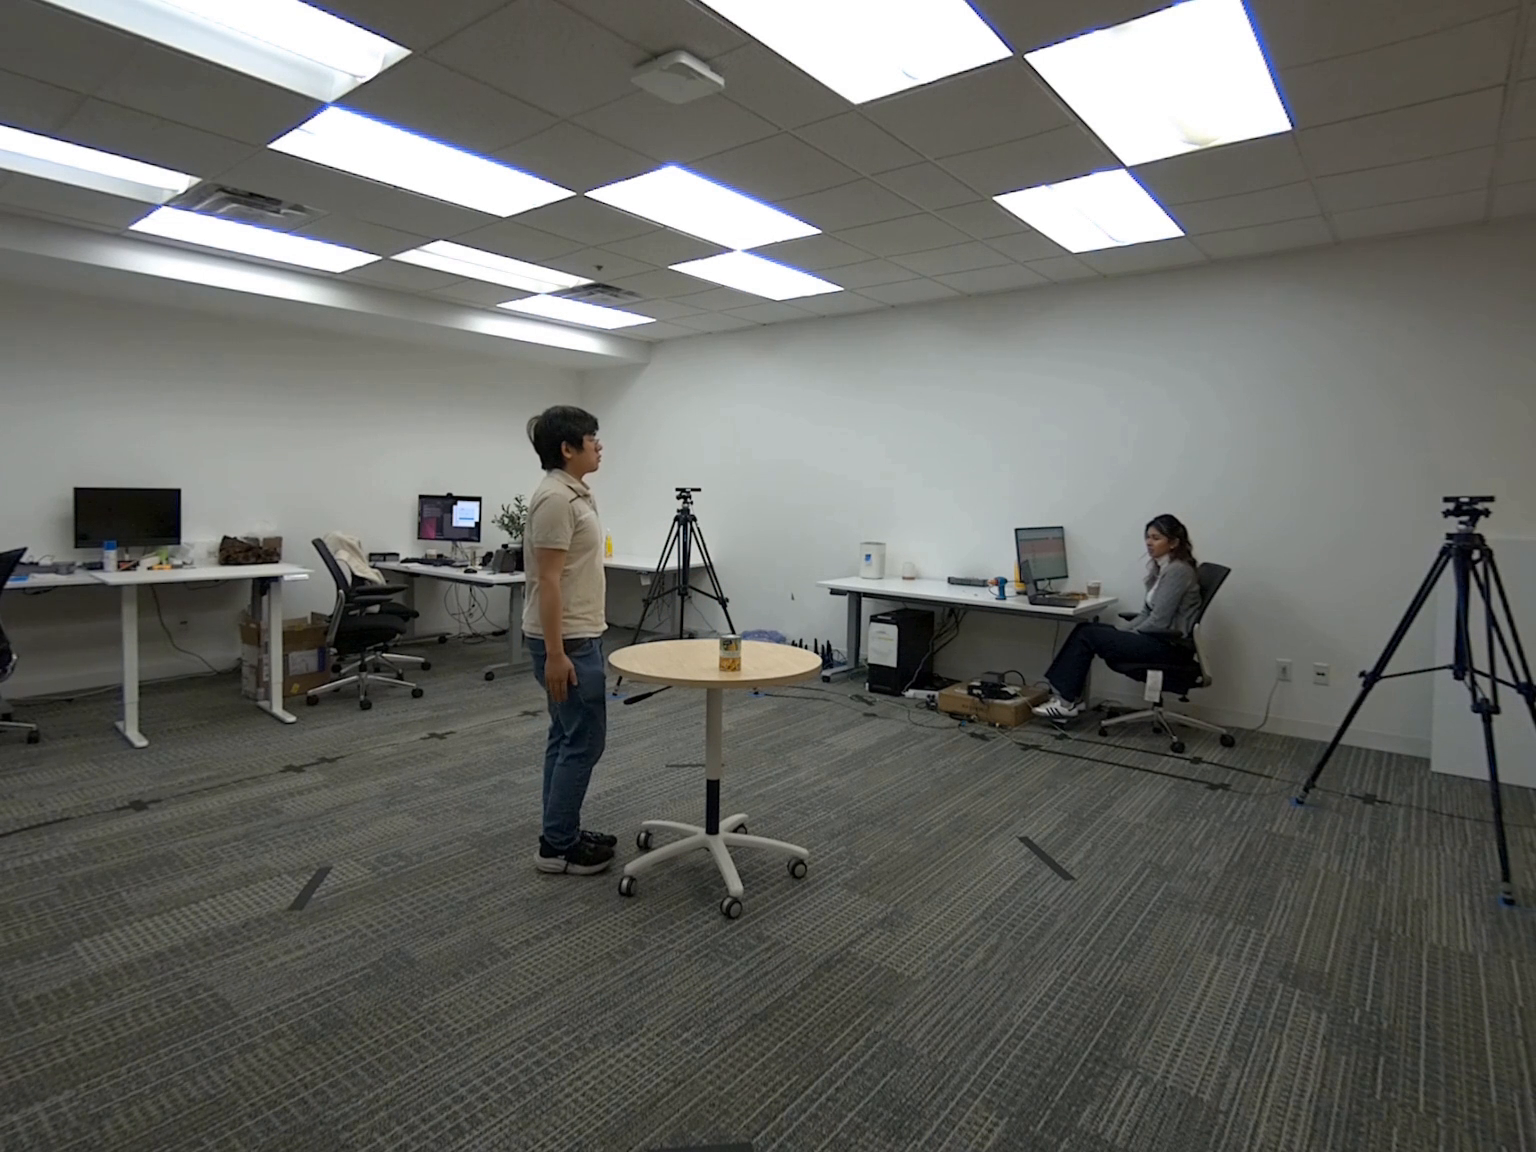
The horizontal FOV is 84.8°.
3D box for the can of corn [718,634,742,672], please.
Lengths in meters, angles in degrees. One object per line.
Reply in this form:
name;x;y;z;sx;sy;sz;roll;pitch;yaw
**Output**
can of corn;-0.146;0.252;2.851;0.074;0.111;0.074;1;3;-2
